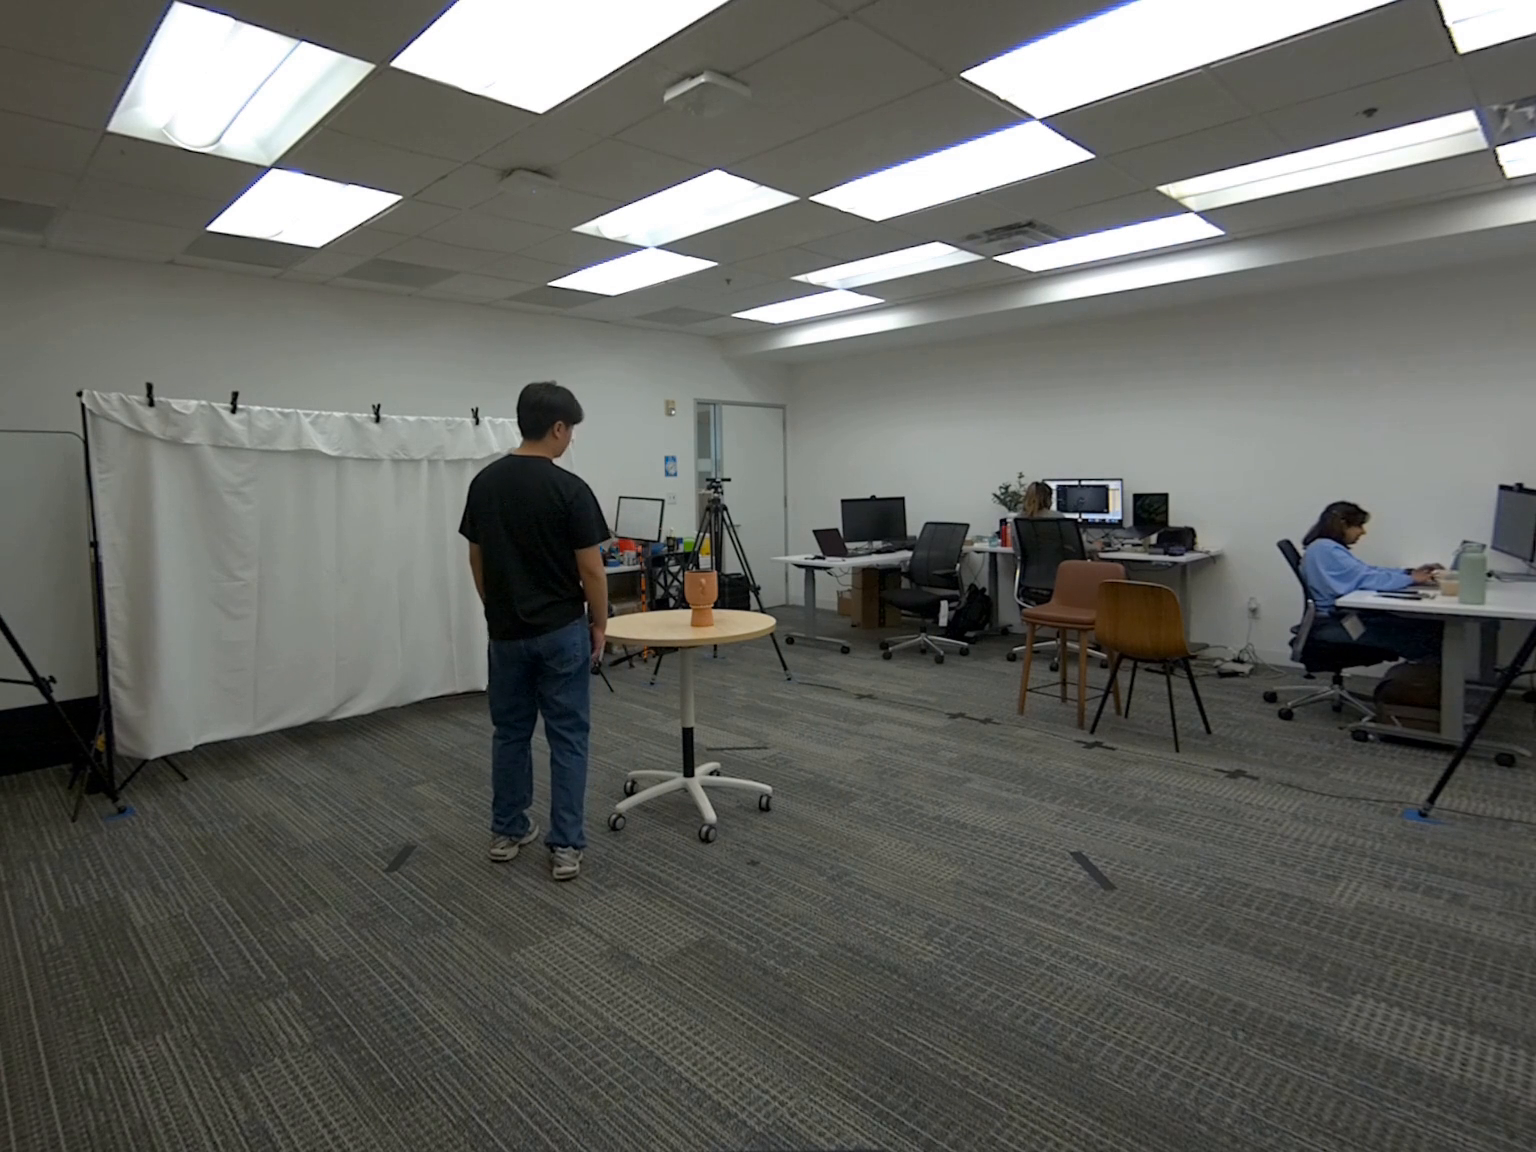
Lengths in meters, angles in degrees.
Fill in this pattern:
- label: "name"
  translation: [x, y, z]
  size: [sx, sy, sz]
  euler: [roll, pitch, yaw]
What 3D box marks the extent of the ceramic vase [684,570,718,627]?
- label: "ceramic vase"
  translation: [-0.273, 0.093, 3.516]
  size: [0.138, 0.219, 0.155]
  euler: [0, 5, 29]
